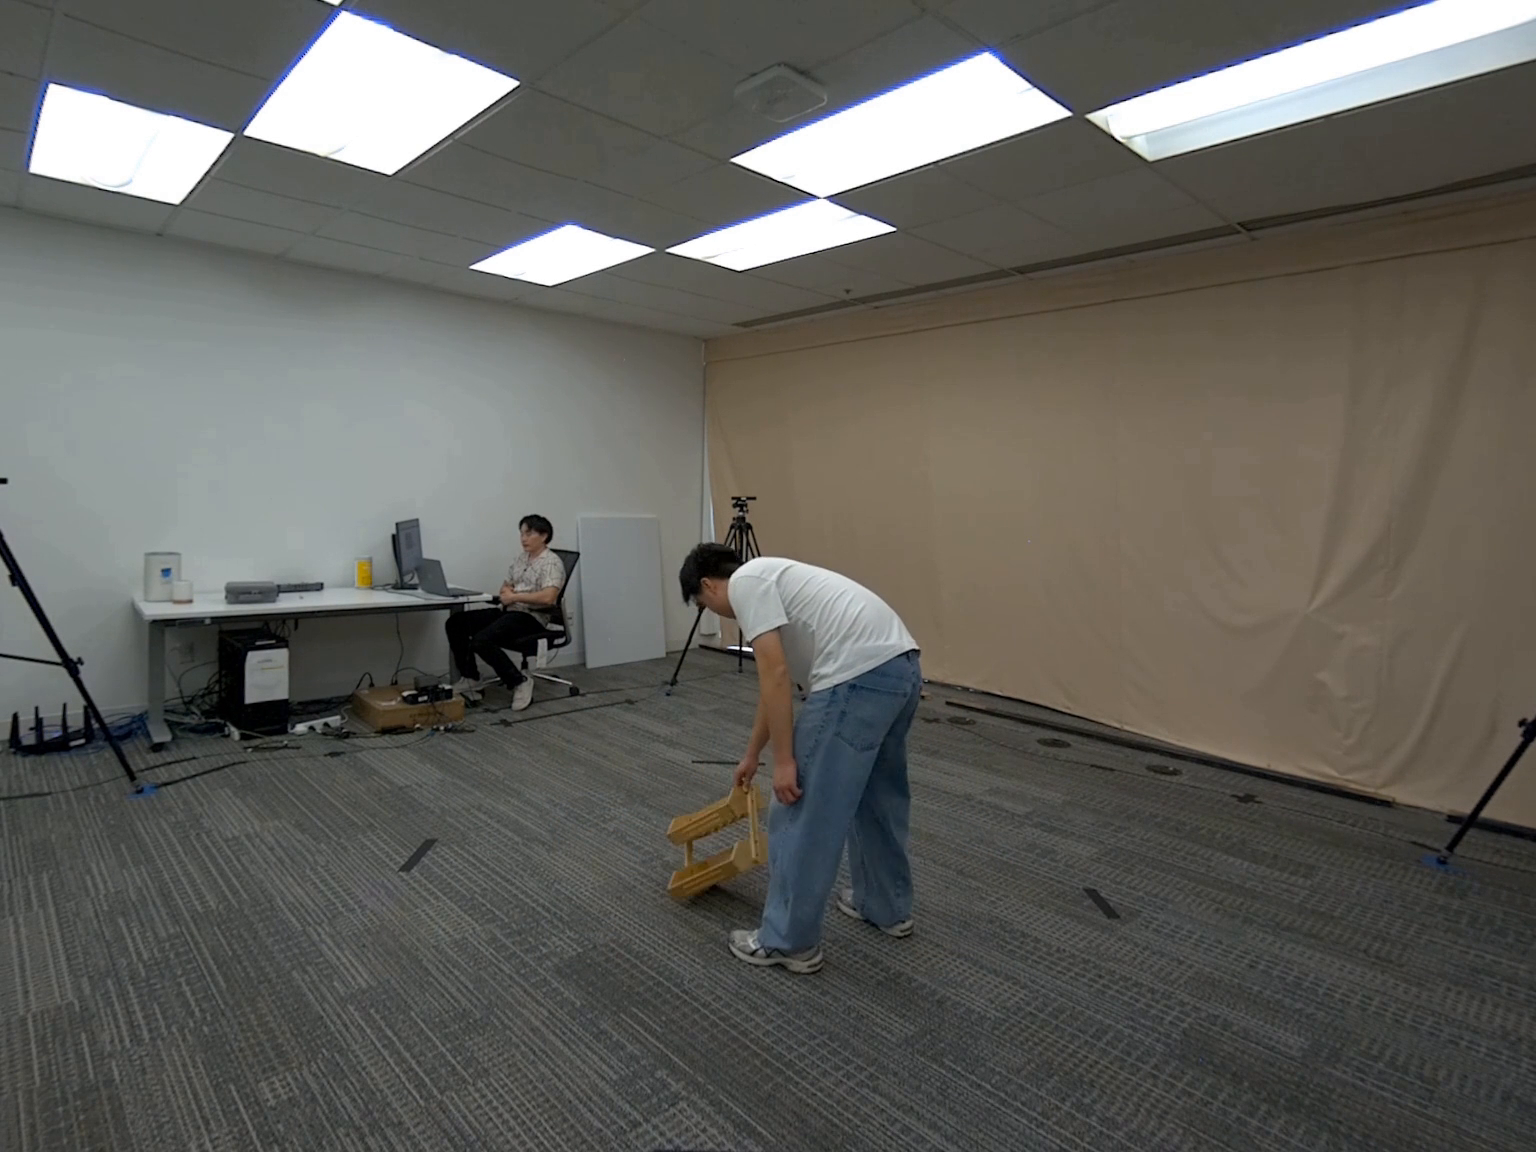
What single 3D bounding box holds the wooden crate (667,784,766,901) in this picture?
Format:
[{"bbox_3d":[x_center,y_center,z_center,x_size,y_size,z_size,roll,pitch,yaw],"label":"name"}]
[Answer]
[{"bbox_3d":[-0.185,0.921,2.933,0.326,0.279,0.294,-34,-22,26],"label":"wooden crate"}]
